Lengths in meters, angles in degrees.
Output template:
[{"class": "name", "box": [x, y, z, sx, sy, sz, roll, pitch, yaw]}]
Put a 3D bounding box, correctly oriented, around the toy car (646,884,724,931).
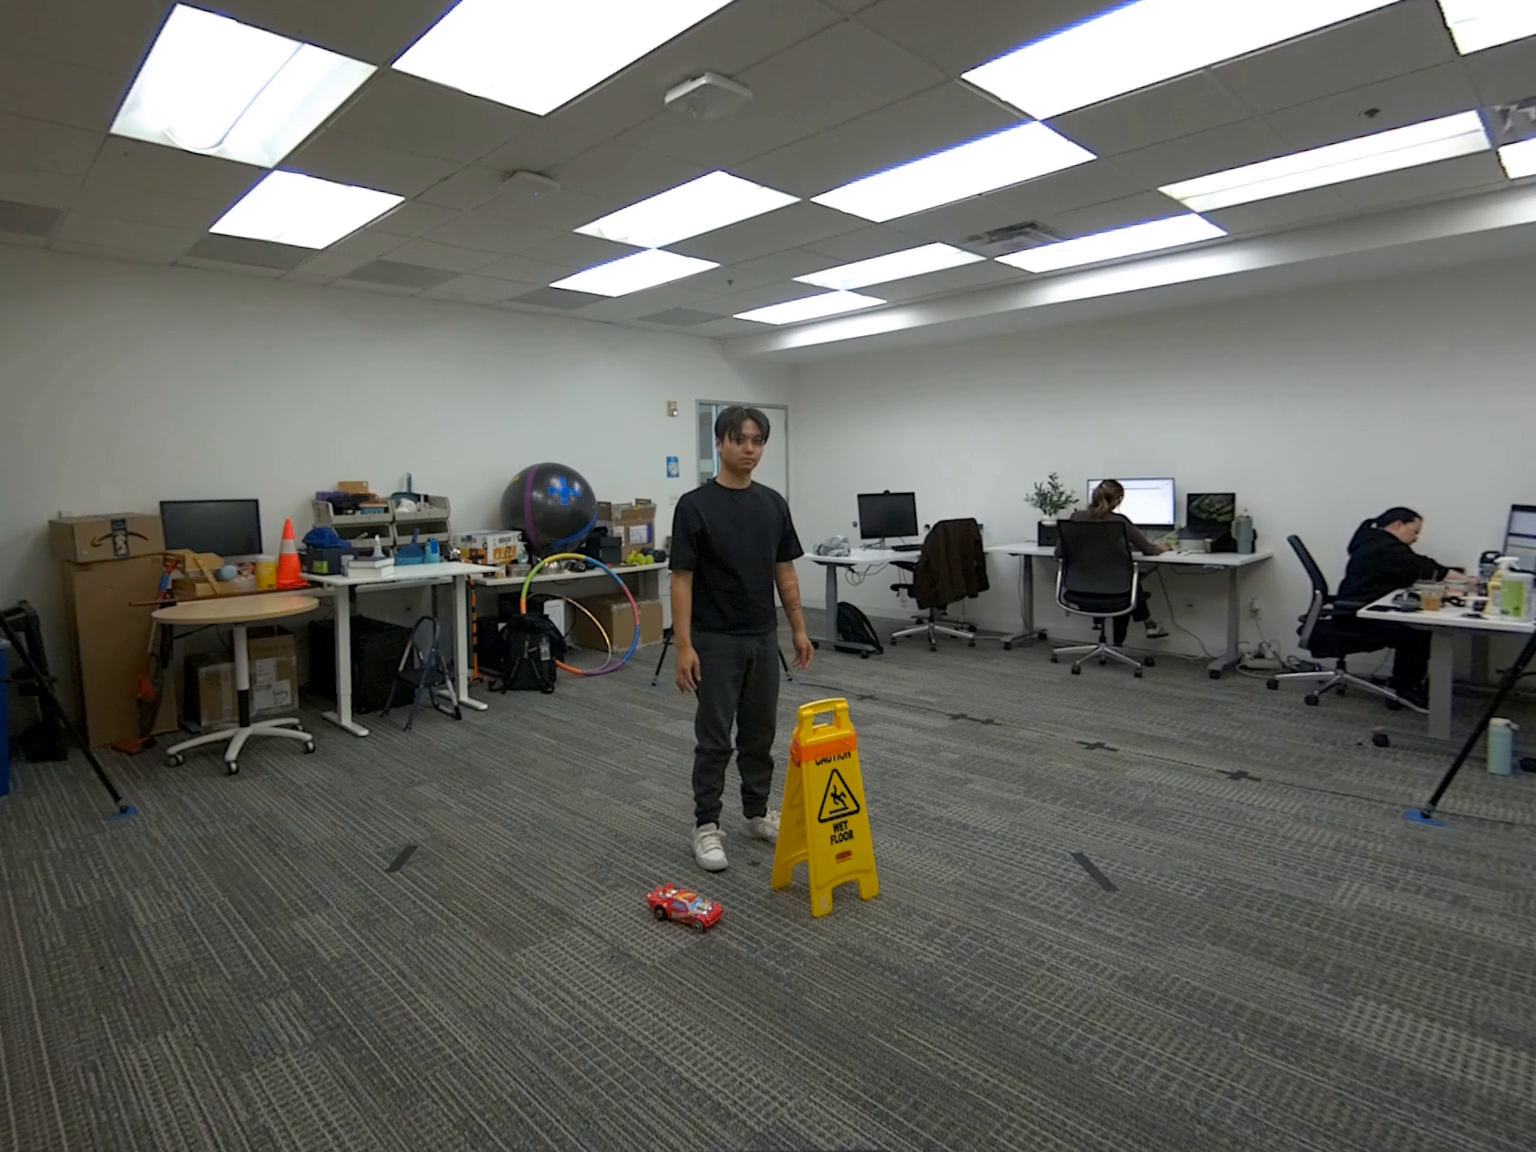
[{"class": "toy car", "box": [-0.269, 1.065, 2.730, 0.262, 0.082, 0.127, 15, 13, 30]}]
